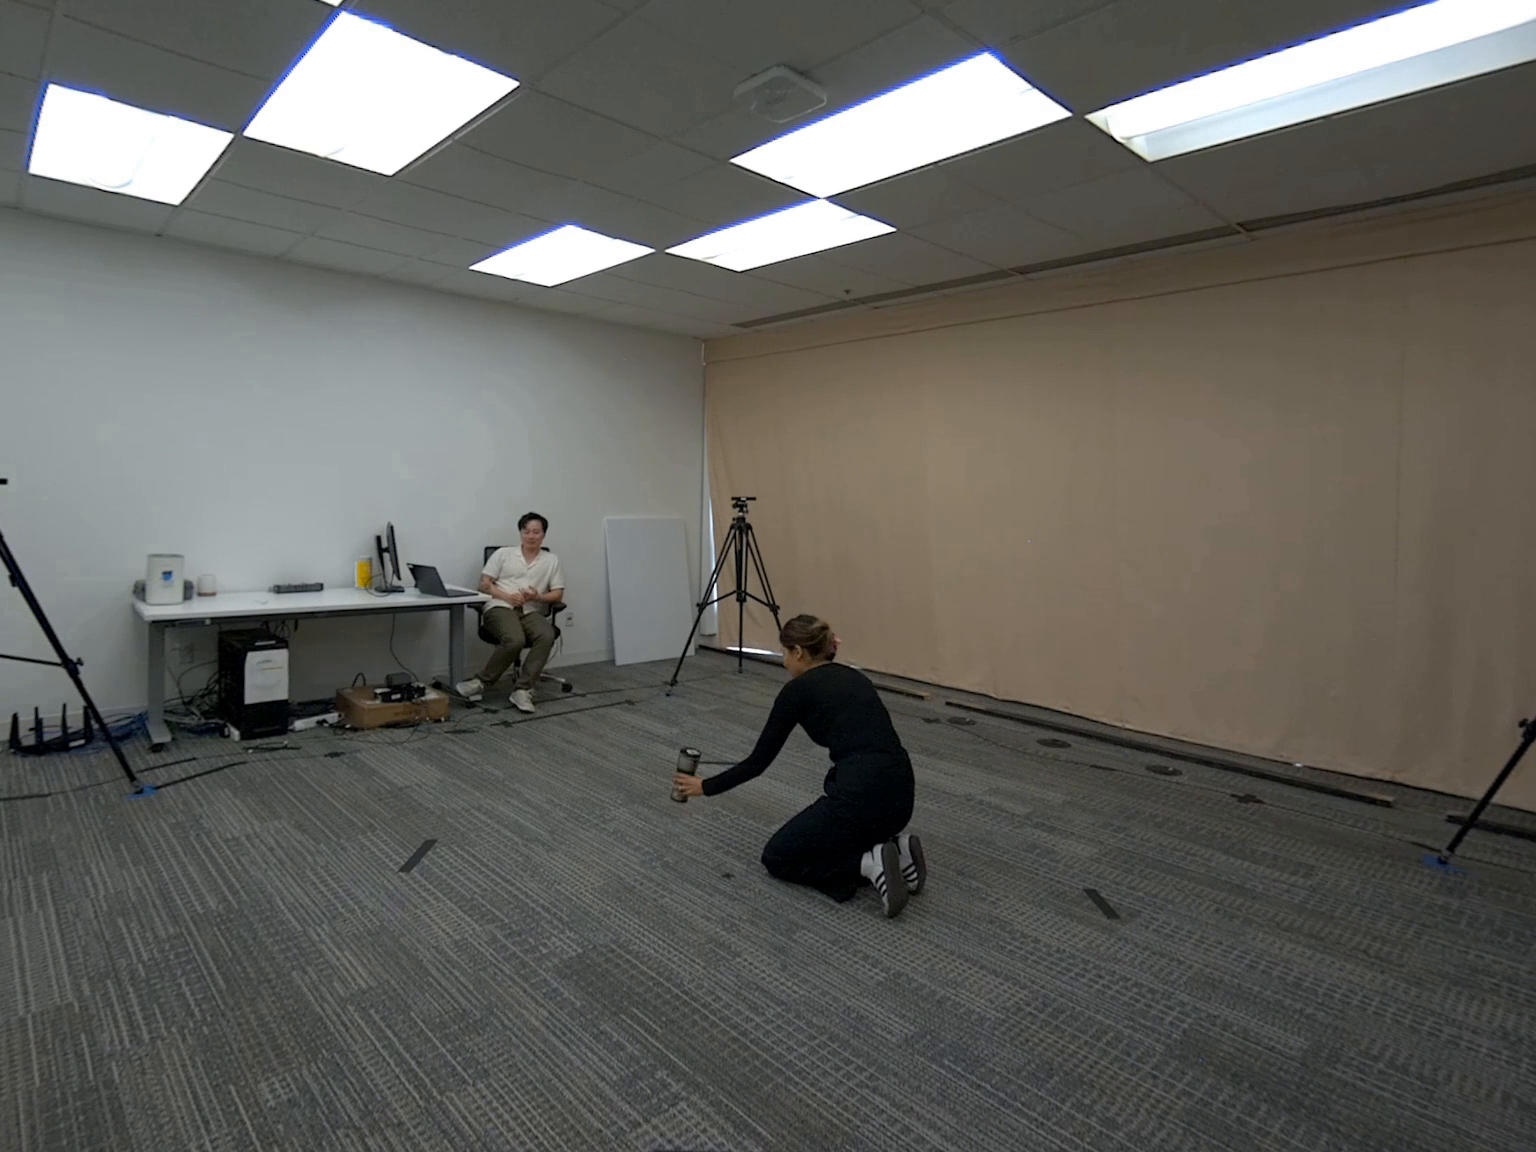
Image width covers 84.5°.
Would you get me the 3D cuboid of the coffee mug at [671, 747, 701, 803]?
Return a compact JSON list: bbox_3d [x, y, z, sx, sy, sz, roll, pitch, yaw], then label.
[{"bbox_3d":[-0.307,0.799,3.355,0.090,0.203,0.119,11,3,28],"label":"coffee mug"}]
